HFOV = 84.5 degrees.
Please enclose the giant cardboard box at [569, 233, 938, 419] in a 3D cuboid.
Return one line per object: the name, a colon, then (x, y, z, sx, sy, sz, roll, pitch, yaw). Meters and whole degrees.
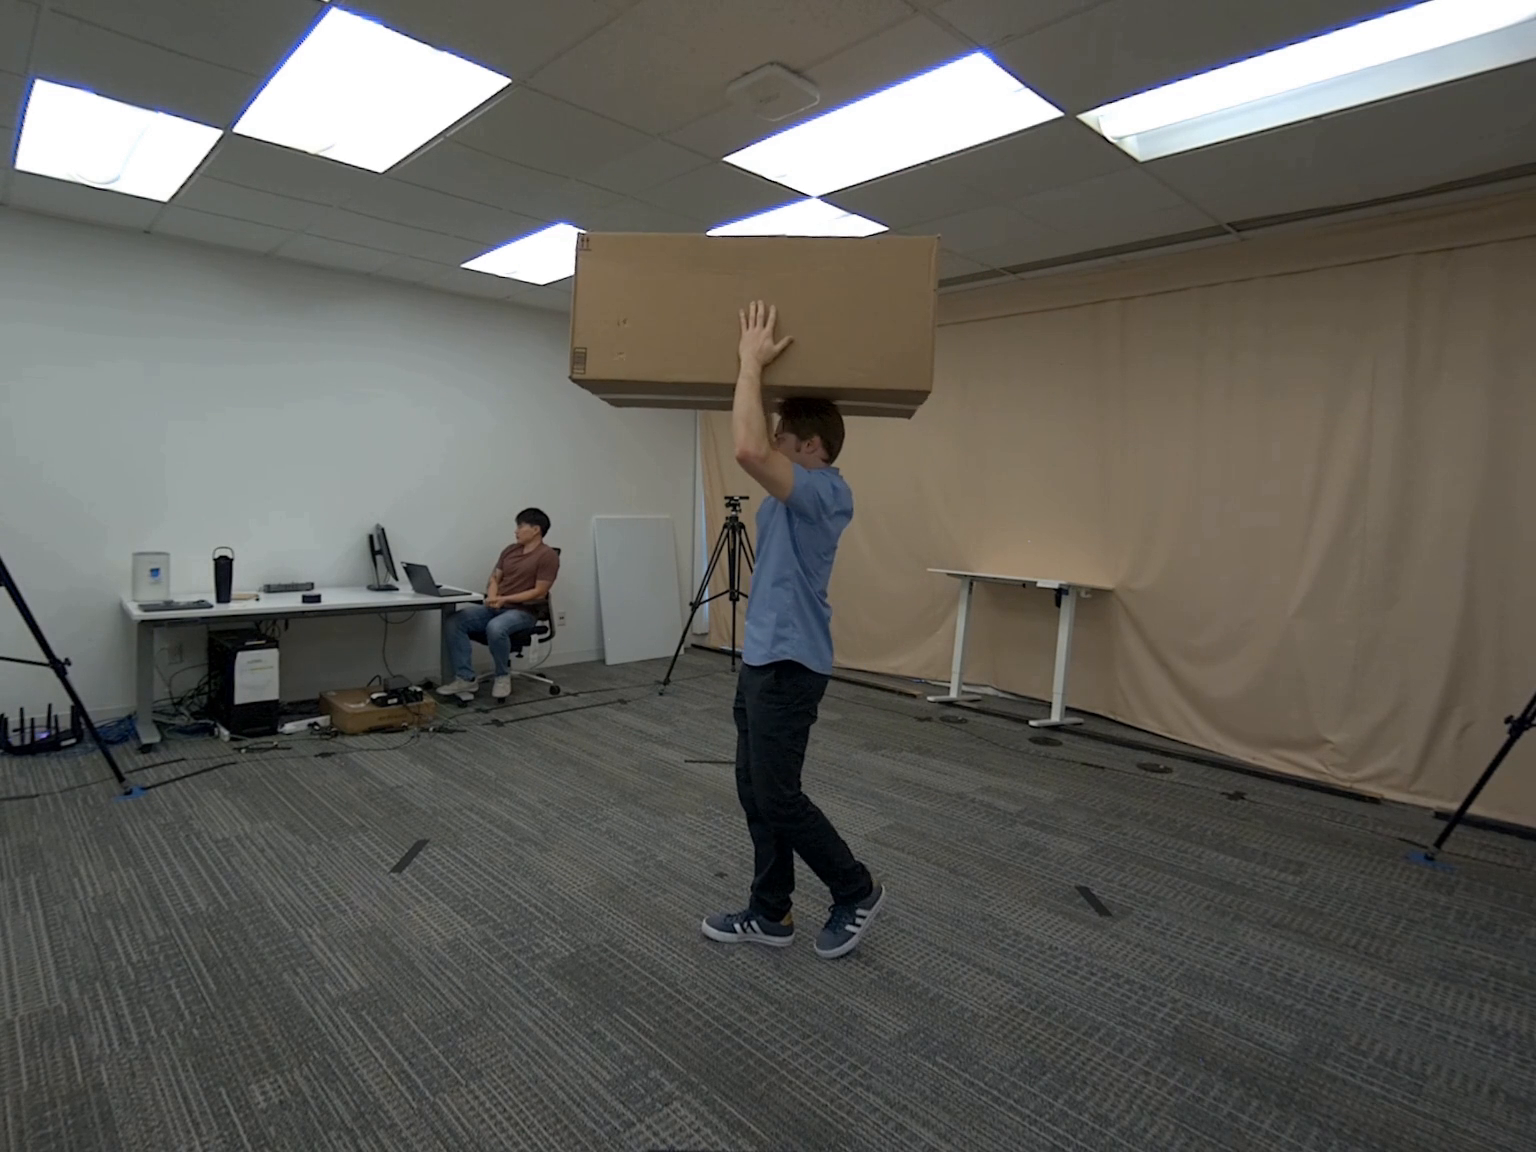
giant cardboard box: (-0.035, -0.757, 2.614, 1.032, 0.426, 0.574, 3, 1, 6)
